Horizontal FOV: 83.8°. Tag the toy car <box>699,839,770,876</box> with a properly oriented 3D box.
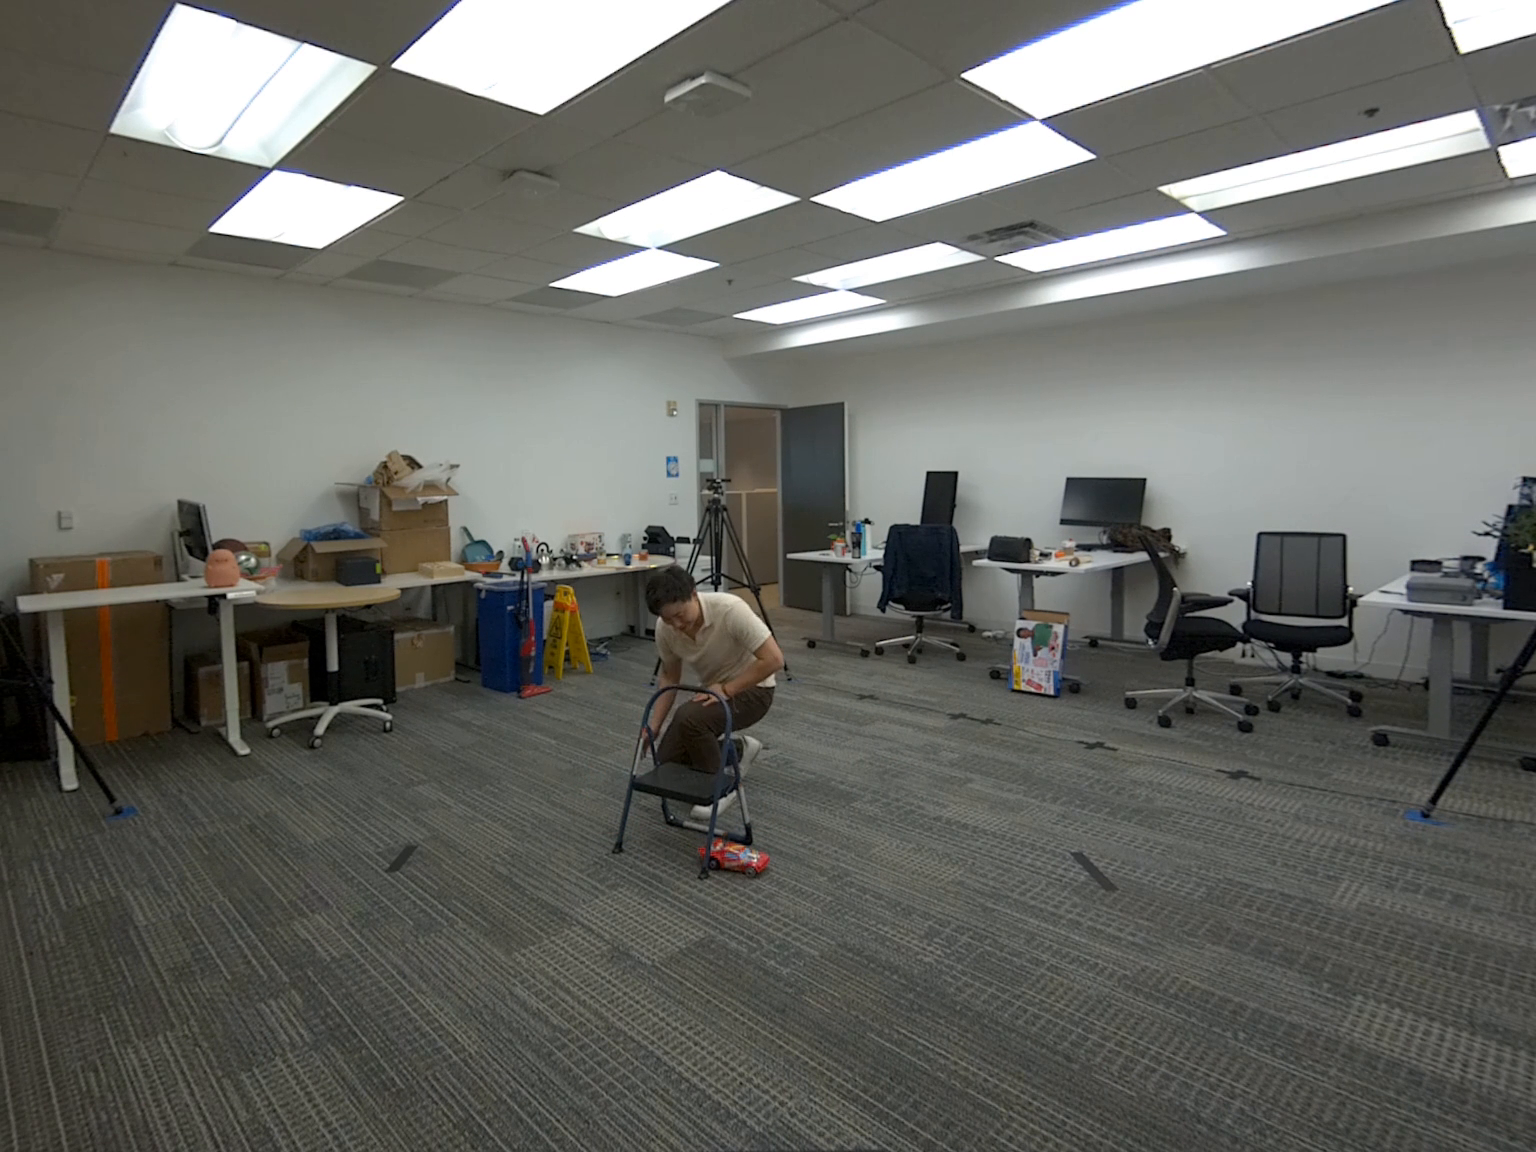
[{"bbox_3d":[-0.128,1.022,3.084,0.261,0.082,0.128,13,12,26],"label":"toy car"}]
